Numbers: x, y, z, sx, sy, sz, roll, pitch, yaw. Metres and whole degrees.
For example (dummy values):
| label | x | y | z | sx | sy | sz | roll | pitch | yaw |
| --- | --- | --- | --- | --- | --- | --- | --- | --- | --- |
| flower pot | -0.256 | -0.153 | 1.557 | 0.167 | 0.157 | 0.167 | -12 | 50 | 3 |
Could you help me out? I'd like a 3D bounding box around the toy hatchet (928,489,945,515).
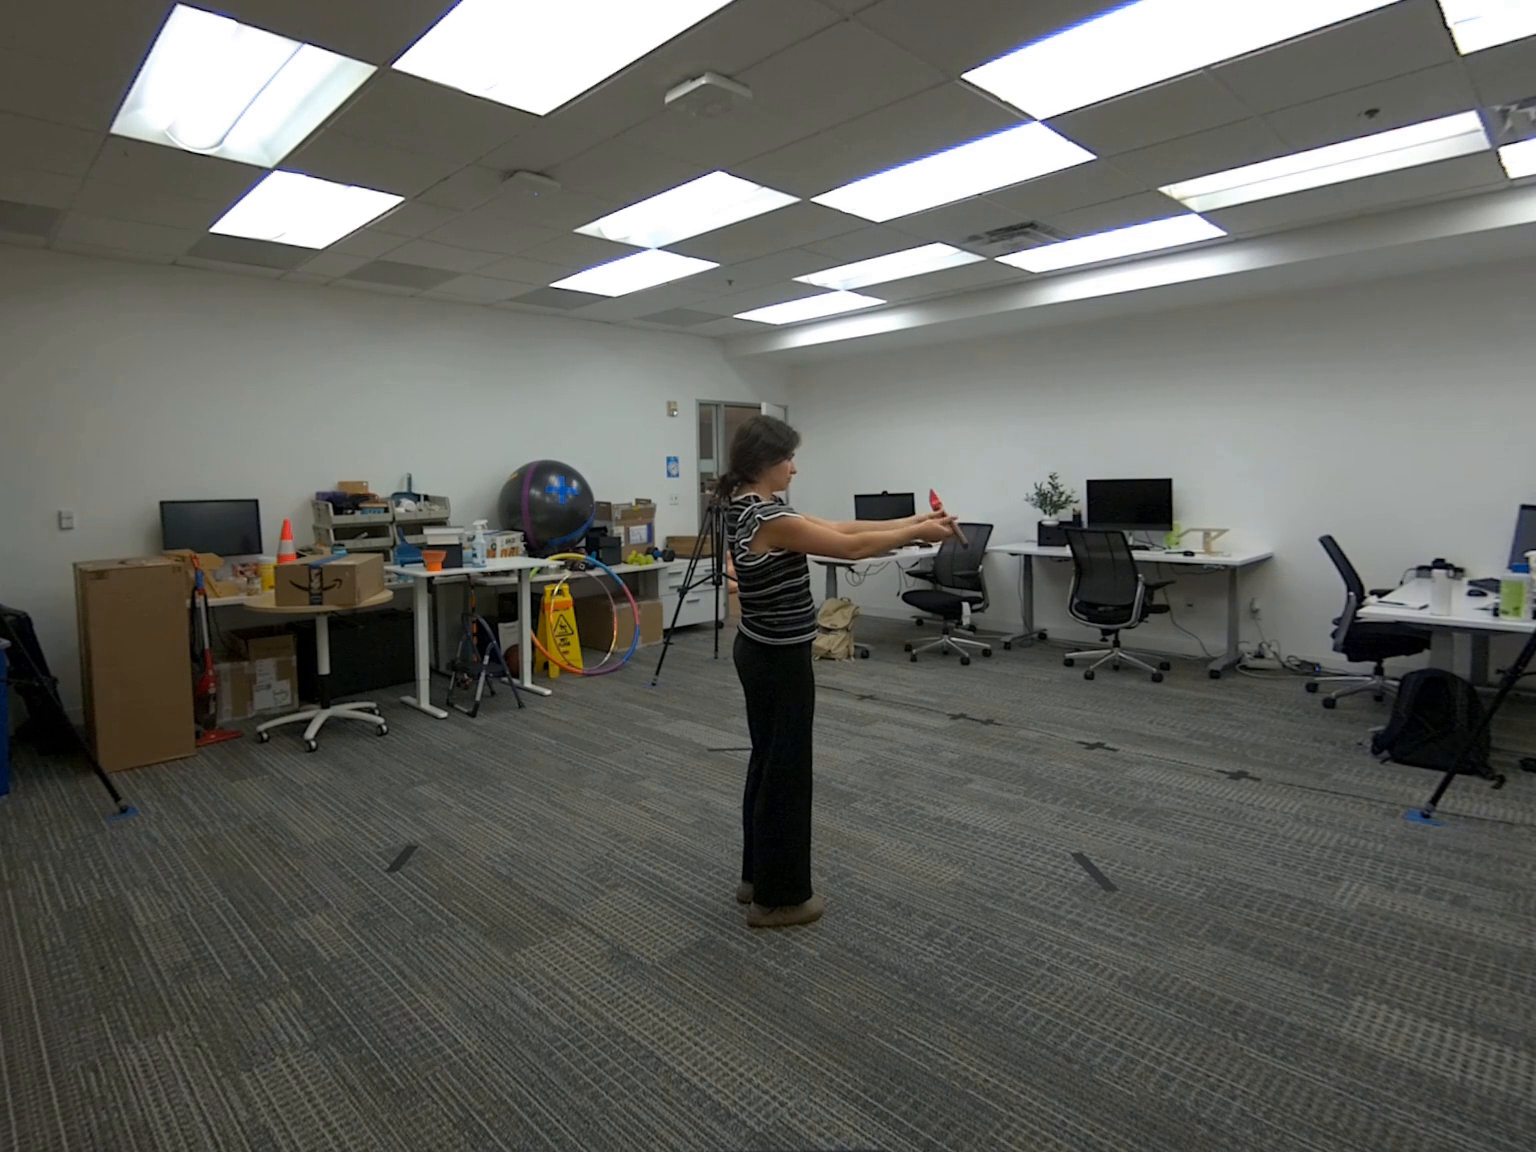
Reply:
| label | x | y | z | sx | sy | sz | roll | pitch | yaw |
| --- | --- | --- | --- | --- | --- | --- | --- | --- | --- |
| toy hatchet | 0.587 | -0.167 | 2.721 | 0.029 | 0.126 | 0.280 | -21 | 45 | 0 |
